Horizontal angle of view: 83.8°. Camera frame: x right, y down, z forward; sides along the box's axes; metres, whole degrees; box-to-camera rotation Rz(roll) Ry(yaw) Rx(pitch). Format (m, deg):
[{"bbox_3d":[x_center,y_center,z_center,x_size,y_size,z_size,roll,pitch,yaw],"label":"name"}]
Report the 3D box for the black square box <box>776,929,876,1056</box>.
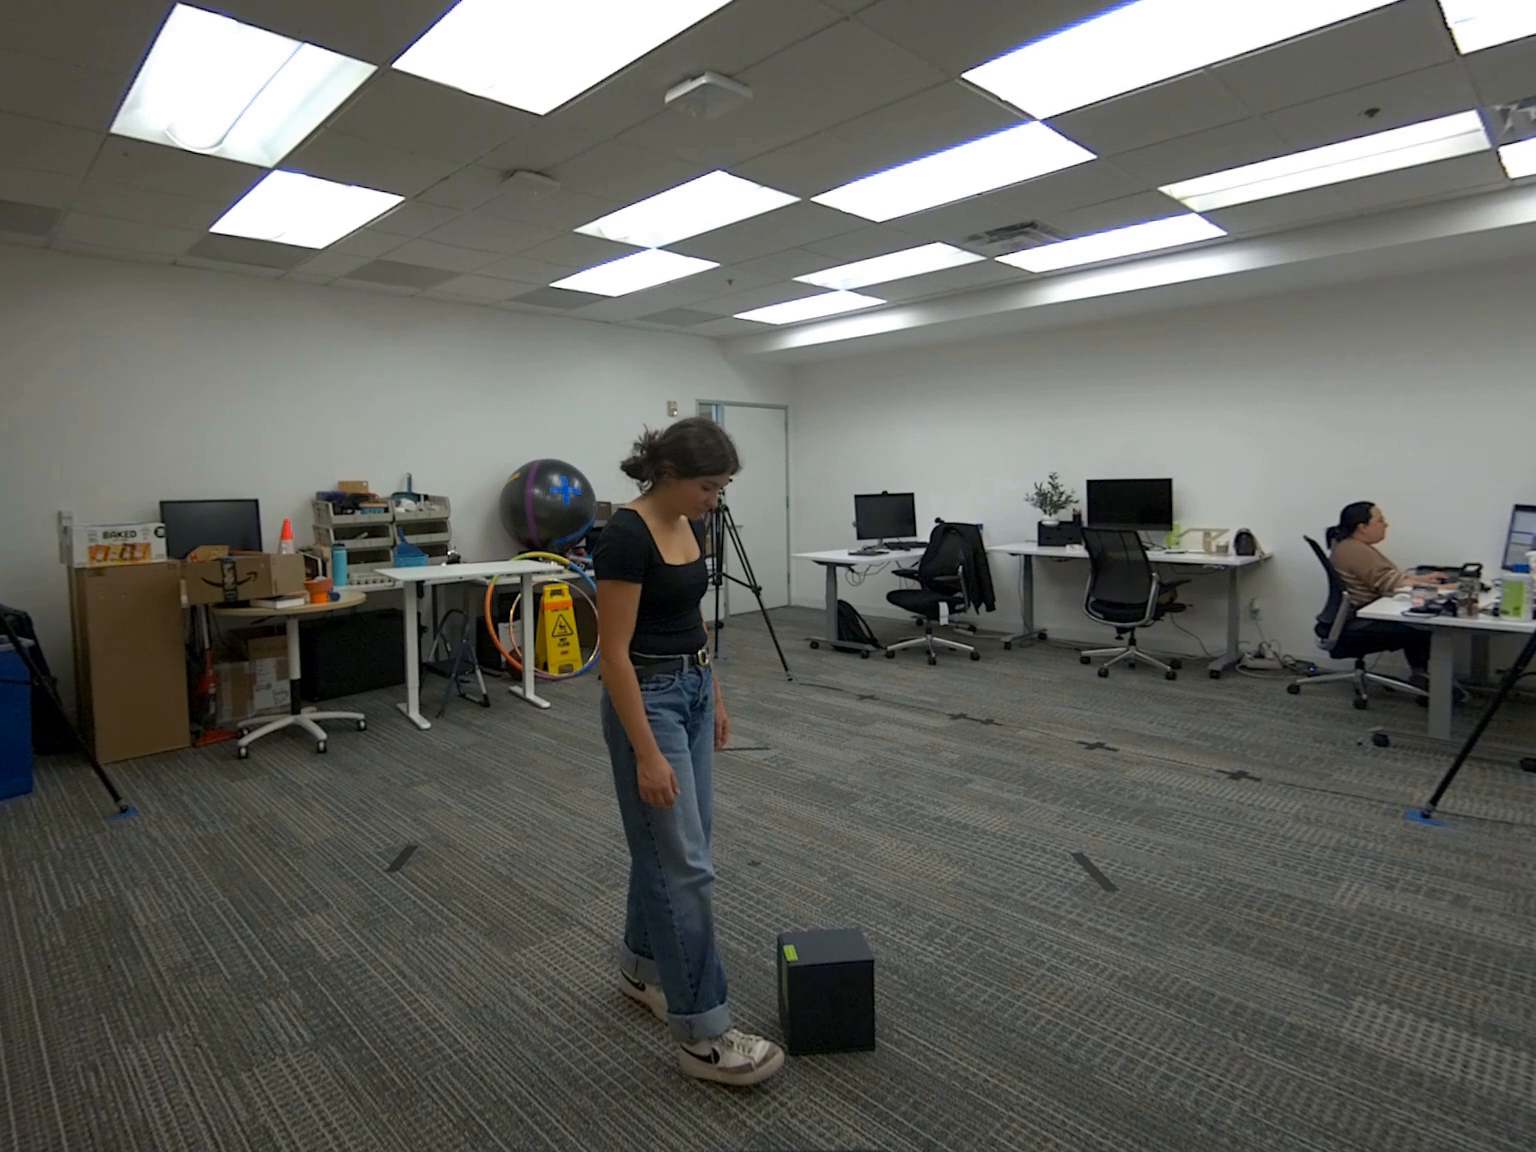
[{"bbox_3d":[0.148,1.030,2.147,0.216,0.227,0.157,-2,4,-5],"label":"black square box"}]
